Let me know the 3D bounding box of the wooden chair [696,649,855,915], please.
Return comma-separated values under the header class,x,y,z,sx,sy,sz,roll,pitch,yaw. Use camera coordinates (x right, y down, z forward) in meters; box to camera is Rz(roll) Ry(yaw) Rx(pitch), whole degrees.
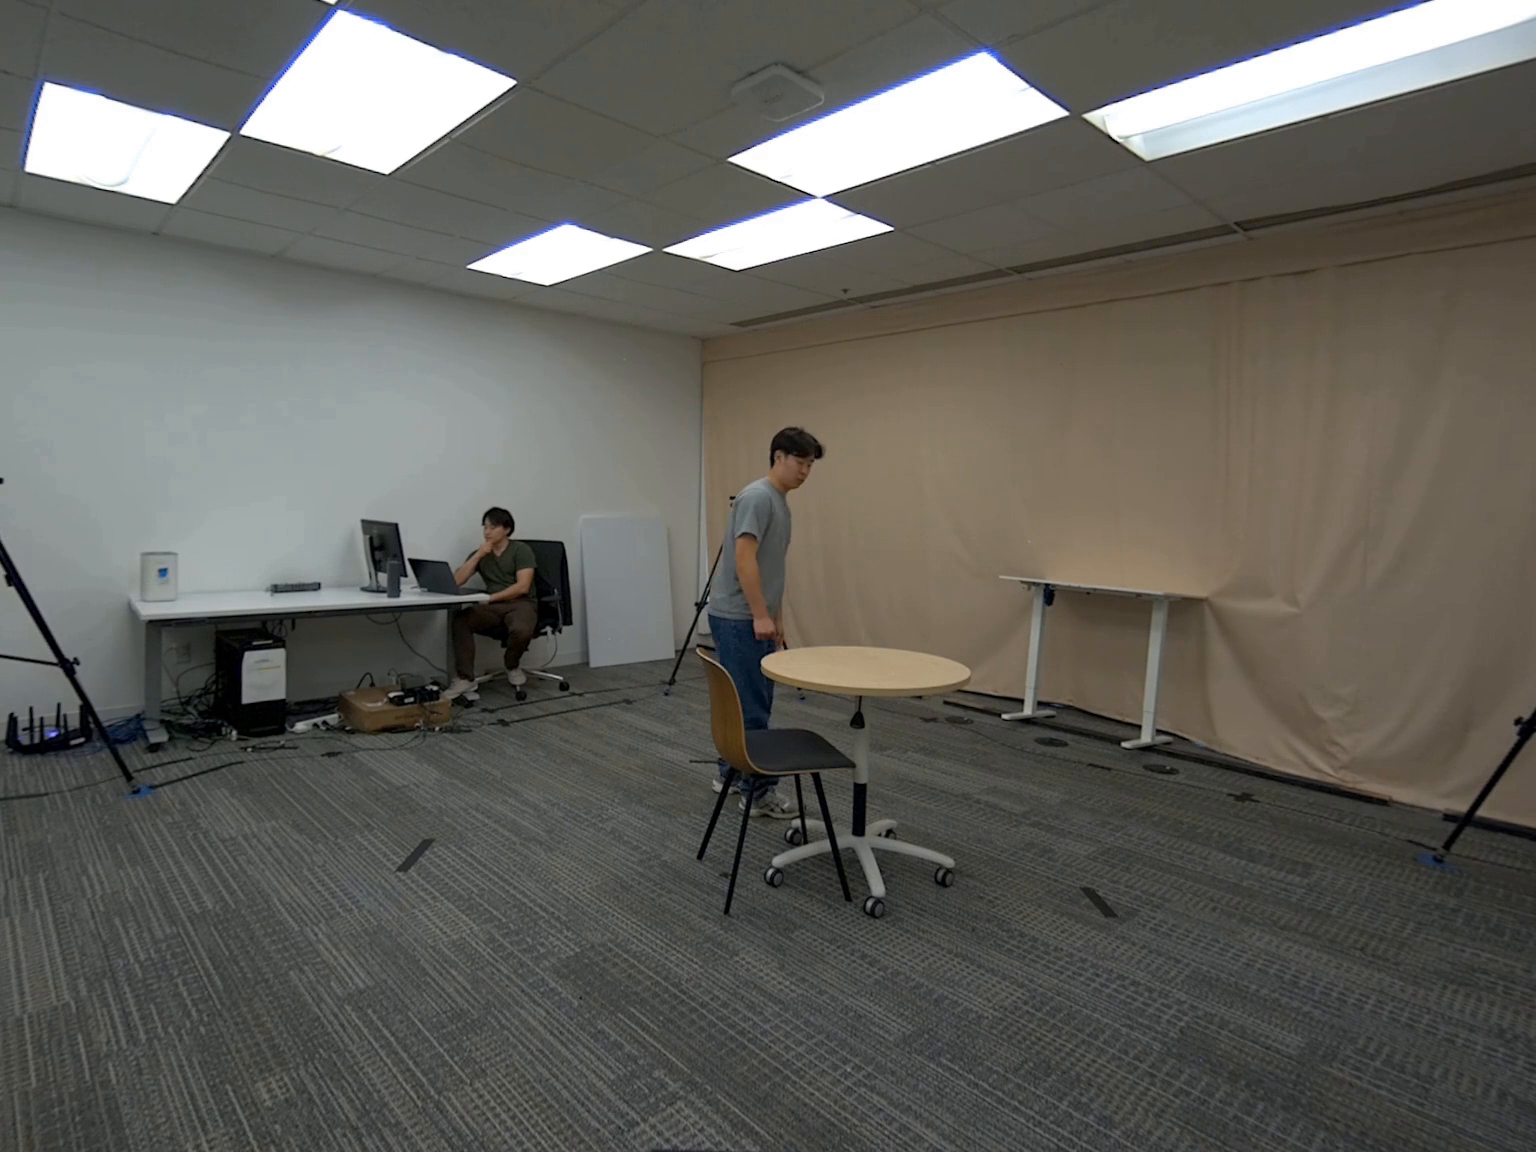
class,x,y,z,sx,sy,sz,roll,pitch,yaw
wooden chair,0.014,0.684,3.047,0.517,0.874,0.485,-4,4,-16
